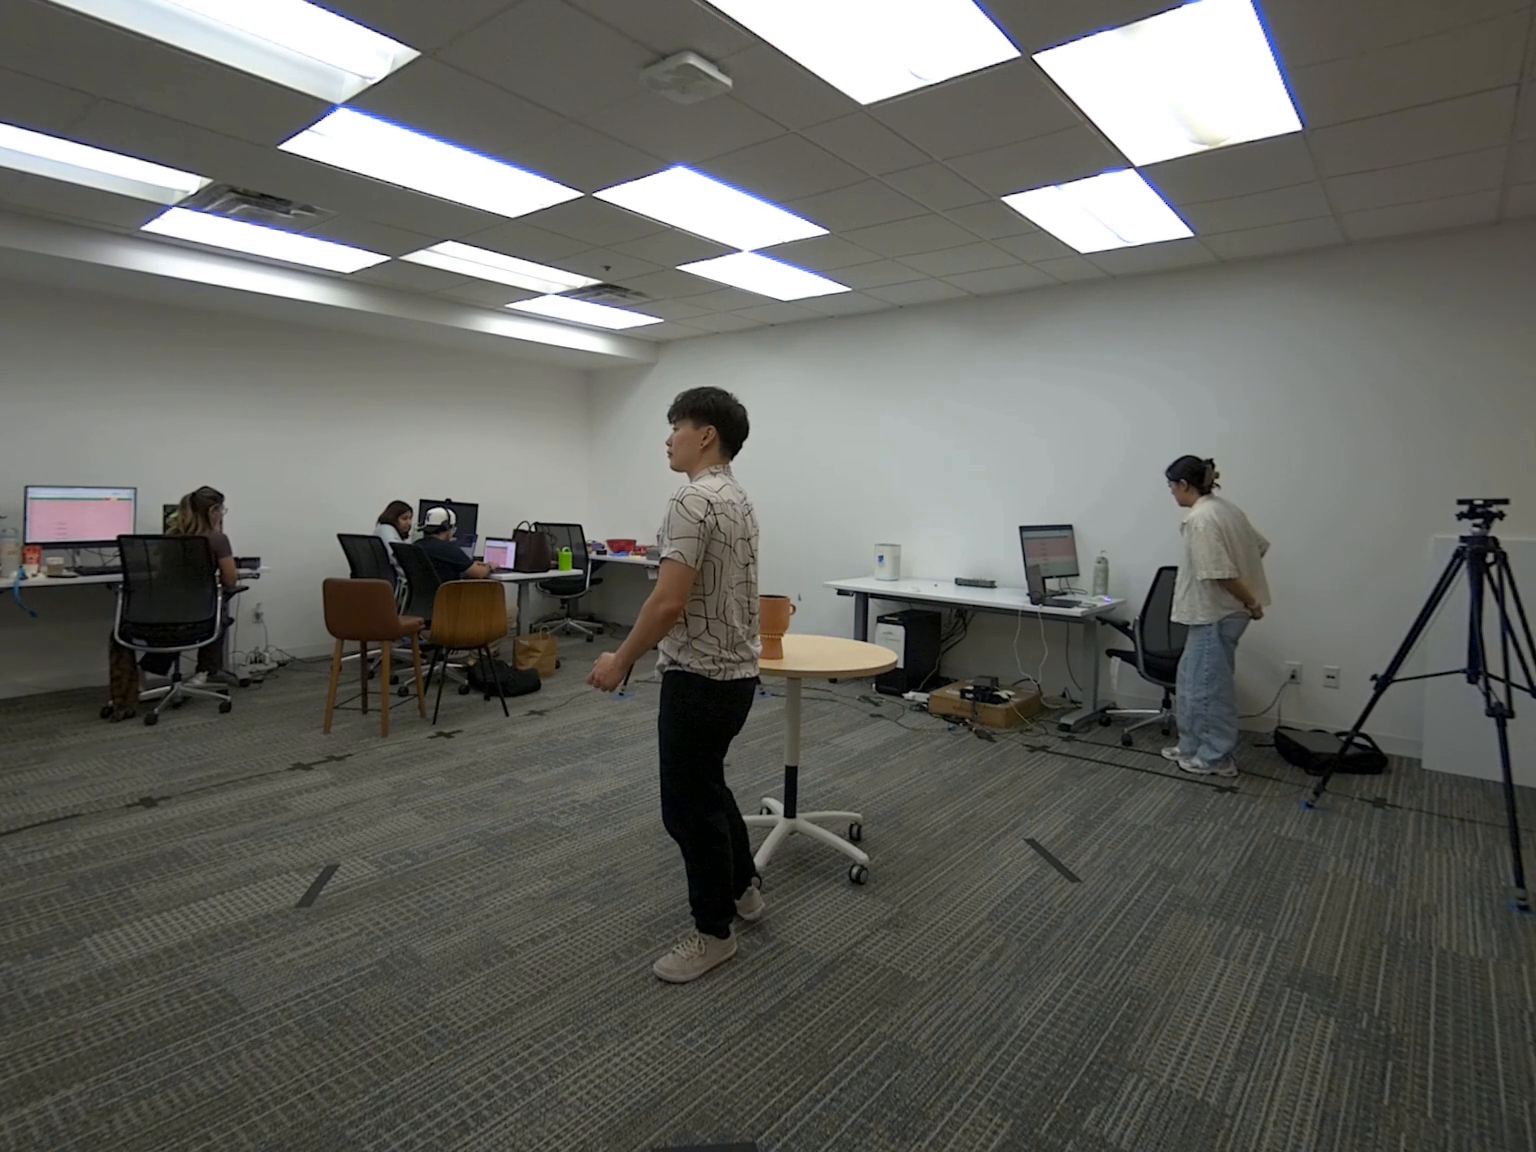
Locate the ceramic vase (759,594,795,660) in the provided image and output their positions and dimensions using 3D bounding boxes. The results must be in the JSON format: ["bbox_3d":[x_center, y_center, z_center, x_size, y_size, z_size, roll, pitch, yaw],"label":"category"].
[{"bbox_3d":[0.007,0.182,3.074,0.161,0.219,0.133,2,4,14],"label":"ceramic vase"}]
